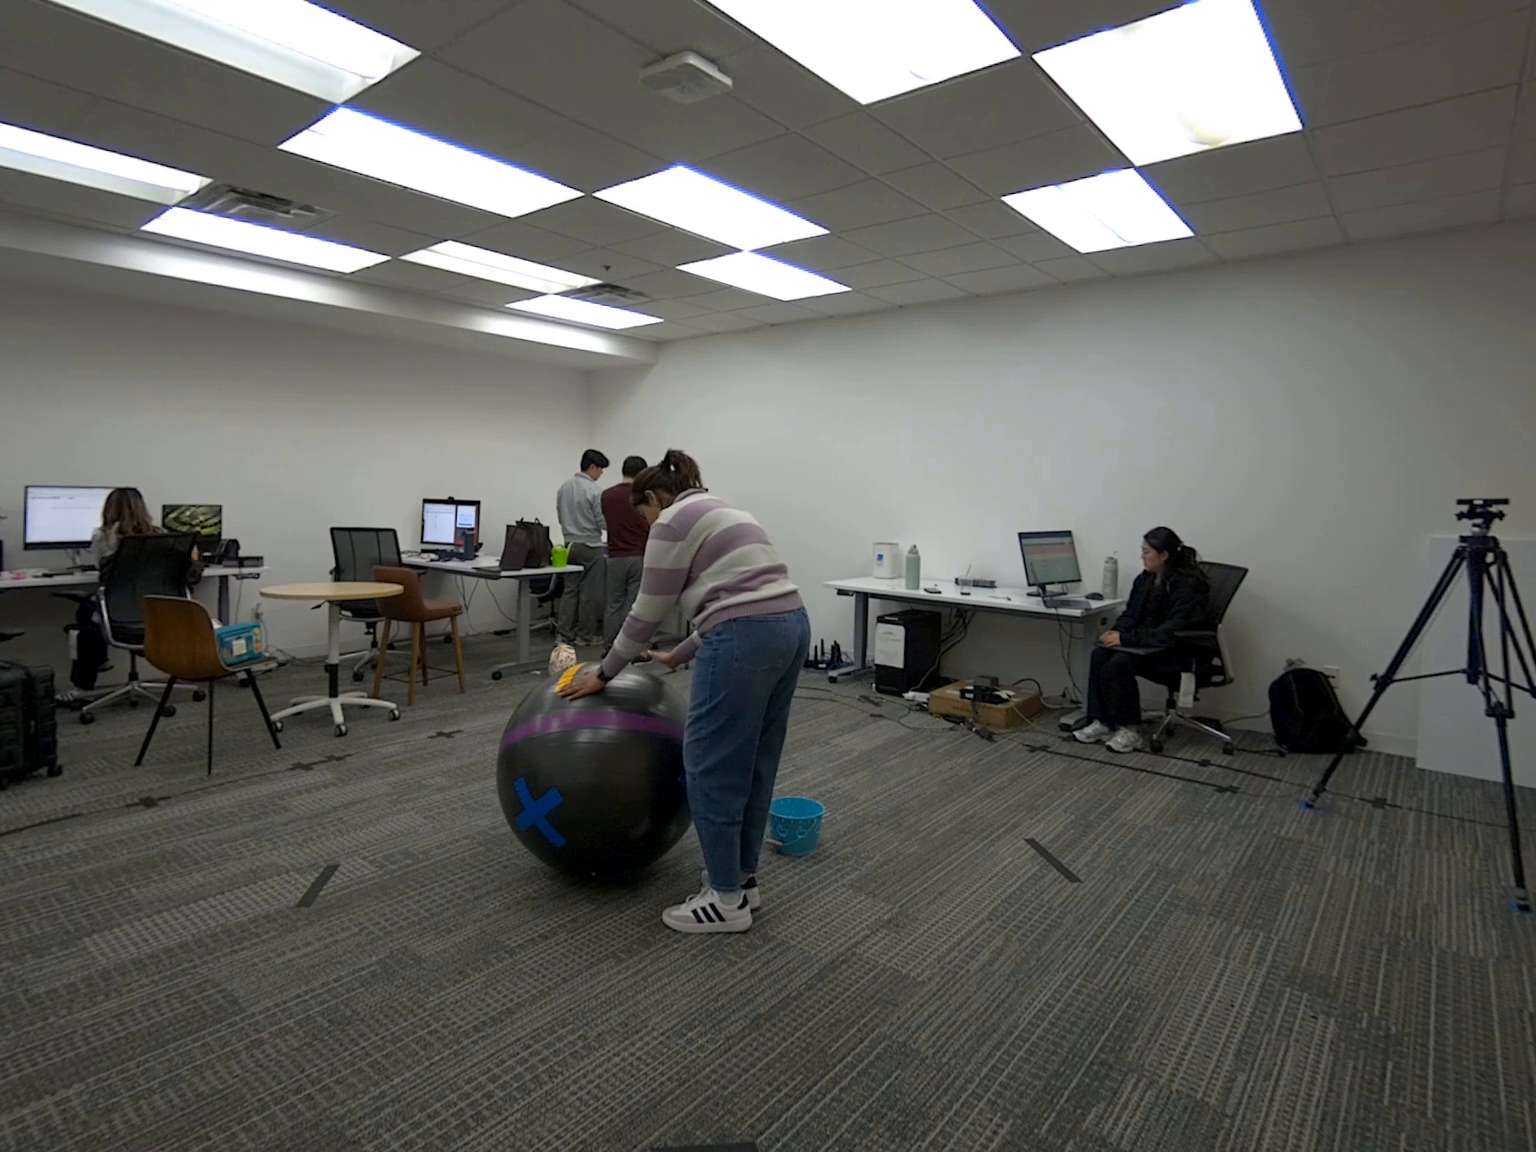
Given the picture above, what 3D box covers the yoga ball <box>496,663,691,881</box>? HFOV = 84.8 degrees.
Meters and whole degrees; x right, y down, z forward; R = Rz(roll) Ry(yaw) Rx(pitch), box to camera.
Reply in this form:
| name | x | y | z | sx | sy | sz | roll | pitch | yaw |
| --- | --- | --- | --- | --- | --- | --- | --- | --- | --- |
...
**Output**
| name | x | y | z | sx | sy | sz | roll | pitch | yaw |
| --- | --- | --- | --- | --- | --- | --- | --- | --- | --- |
| yoga ball | -0.629 | 0.698 | 3.098 | 0.757 | 0.756 | 0.762 | 1 | 4 | -2 |
